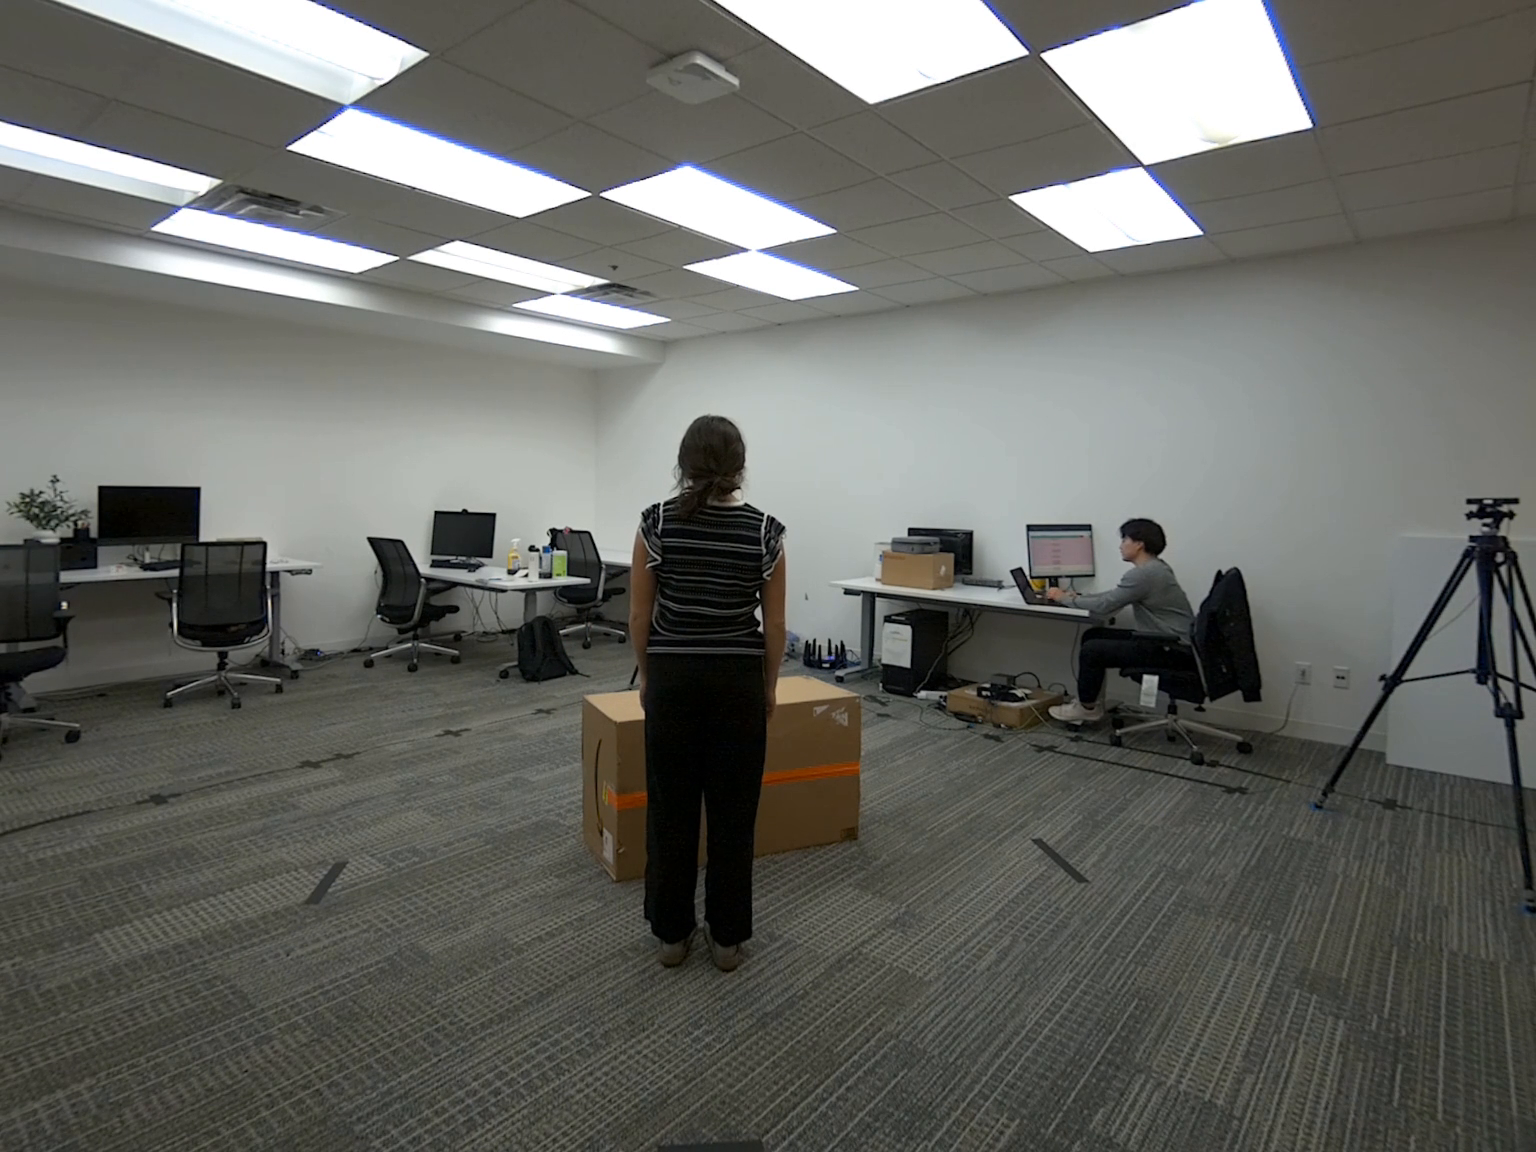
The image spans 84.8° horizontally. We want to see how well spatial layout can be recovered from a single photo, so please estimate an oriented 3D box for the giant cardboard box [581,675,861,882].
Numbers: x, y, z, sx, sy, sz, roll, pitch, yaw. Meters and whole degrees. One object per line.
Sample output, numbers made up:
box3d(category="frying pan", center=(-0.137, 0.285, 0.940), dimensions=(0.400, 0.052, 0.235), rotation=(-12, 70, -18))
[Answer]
box3d(category="giant cardboard box", center=(-0.191, 0.754, 3.369), dimensions=(1.001, 0.576, 0.438), rotation=(-1, 4, -26))
